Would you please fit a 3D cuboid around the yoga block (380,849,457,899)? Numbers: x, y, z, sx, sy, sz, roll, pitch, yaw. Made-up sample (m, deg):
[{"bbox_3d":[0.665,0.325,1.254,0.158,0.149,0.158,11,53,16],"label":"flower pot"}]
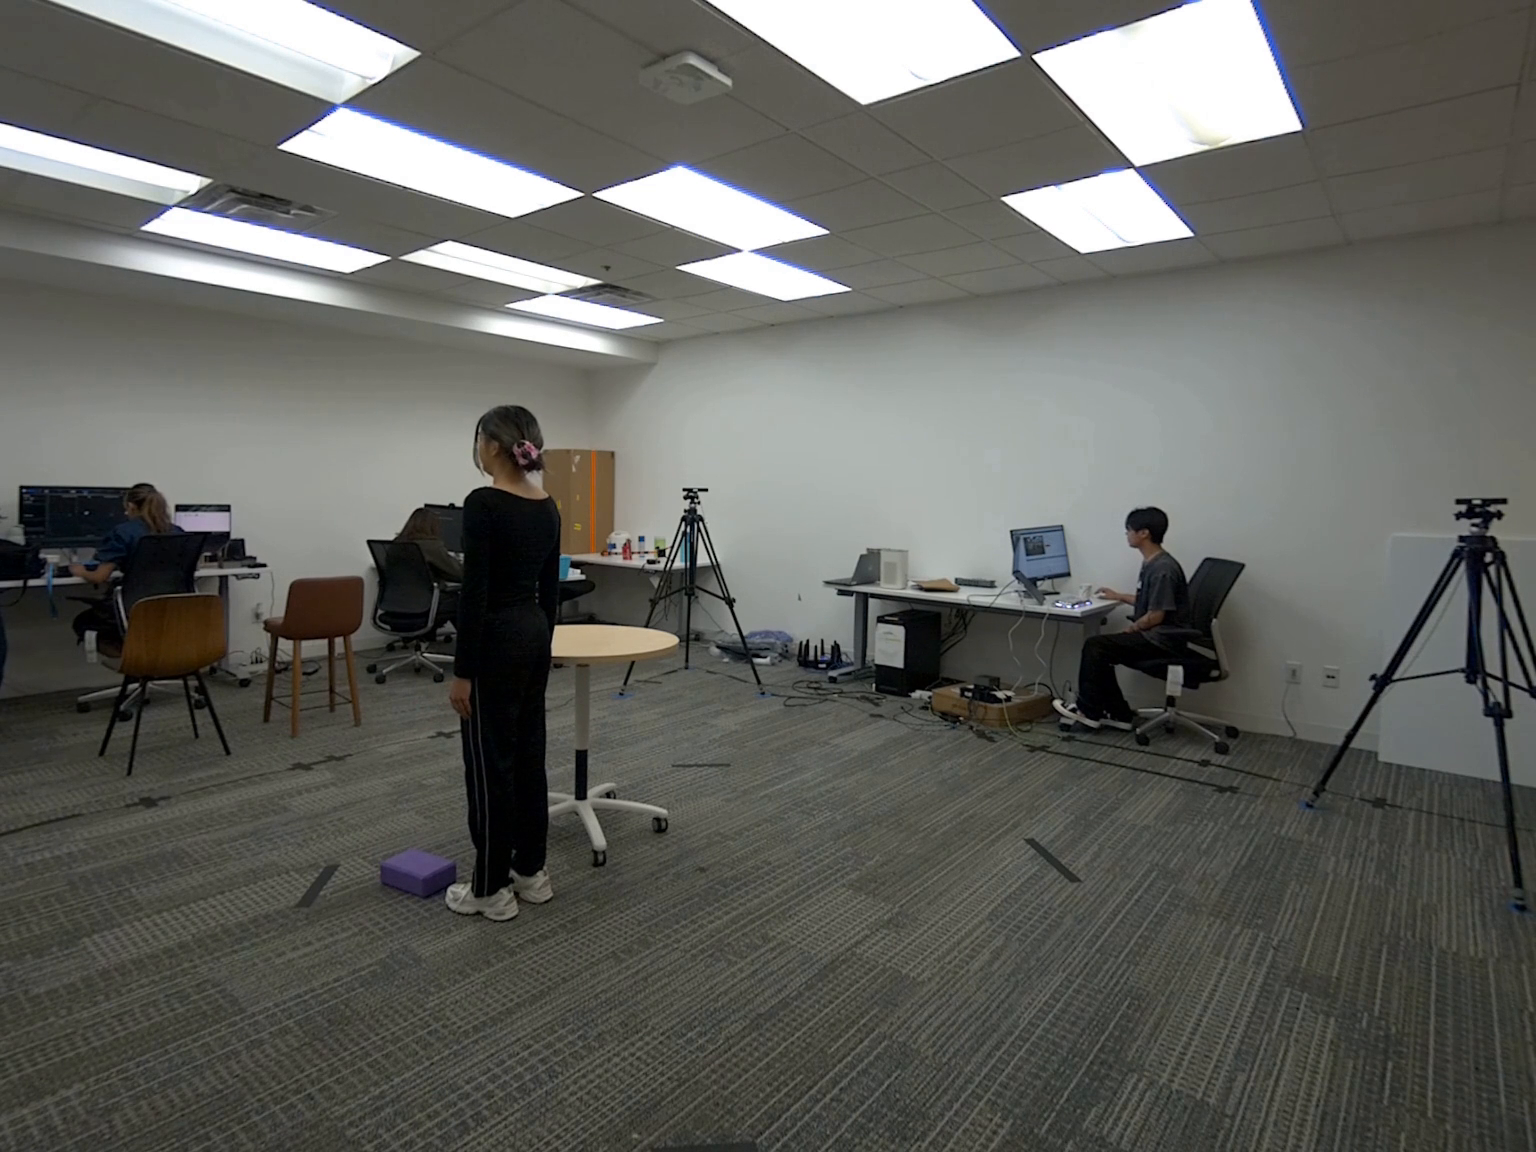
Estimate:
[{"bbox_3d":[-1.235,1.031,2.969,0.236,0.076,0.145,3,6,30],"label":"yoga block"}]
